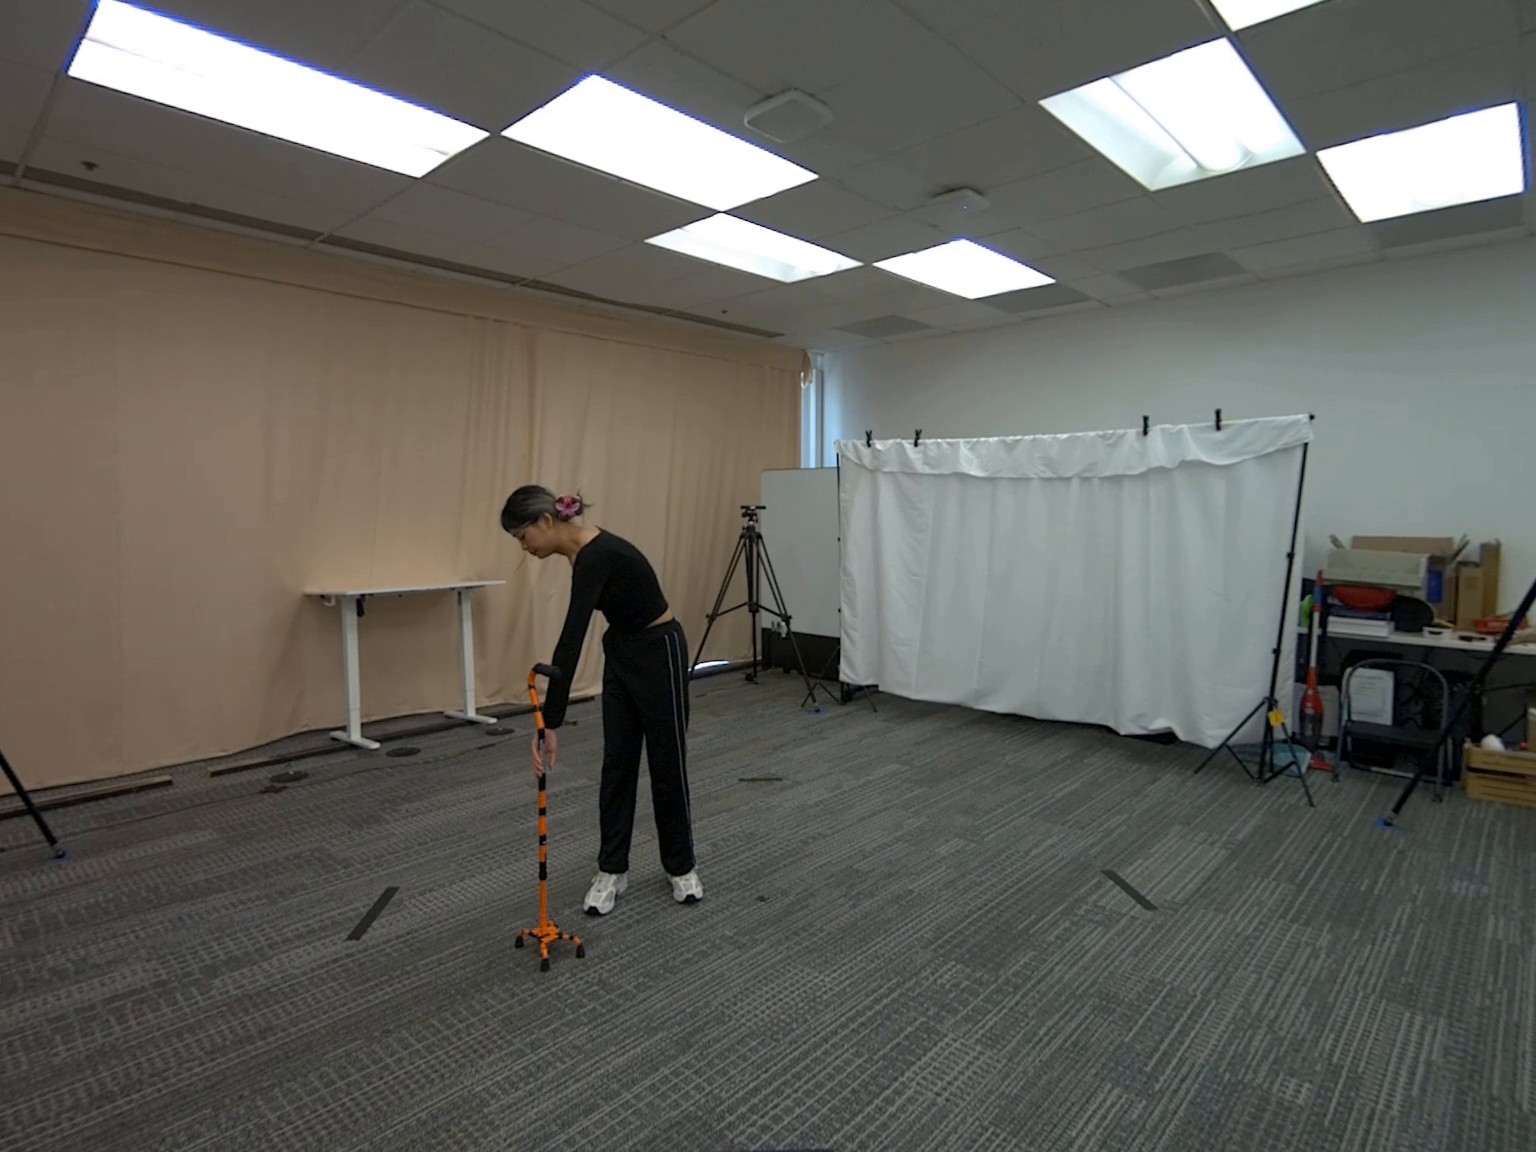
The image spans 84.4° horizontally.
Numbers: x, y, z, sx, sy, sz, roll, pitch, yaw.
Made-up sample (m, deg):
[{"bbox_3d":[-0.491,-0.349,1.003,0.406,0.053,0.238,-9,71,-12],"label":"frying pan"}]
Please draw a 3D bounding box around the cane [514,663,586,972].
[{"bbox_3d":[-0.682,0.726,2.612,0.147,0.906,0.213,-3,5,-38],"label":"cane"}]
